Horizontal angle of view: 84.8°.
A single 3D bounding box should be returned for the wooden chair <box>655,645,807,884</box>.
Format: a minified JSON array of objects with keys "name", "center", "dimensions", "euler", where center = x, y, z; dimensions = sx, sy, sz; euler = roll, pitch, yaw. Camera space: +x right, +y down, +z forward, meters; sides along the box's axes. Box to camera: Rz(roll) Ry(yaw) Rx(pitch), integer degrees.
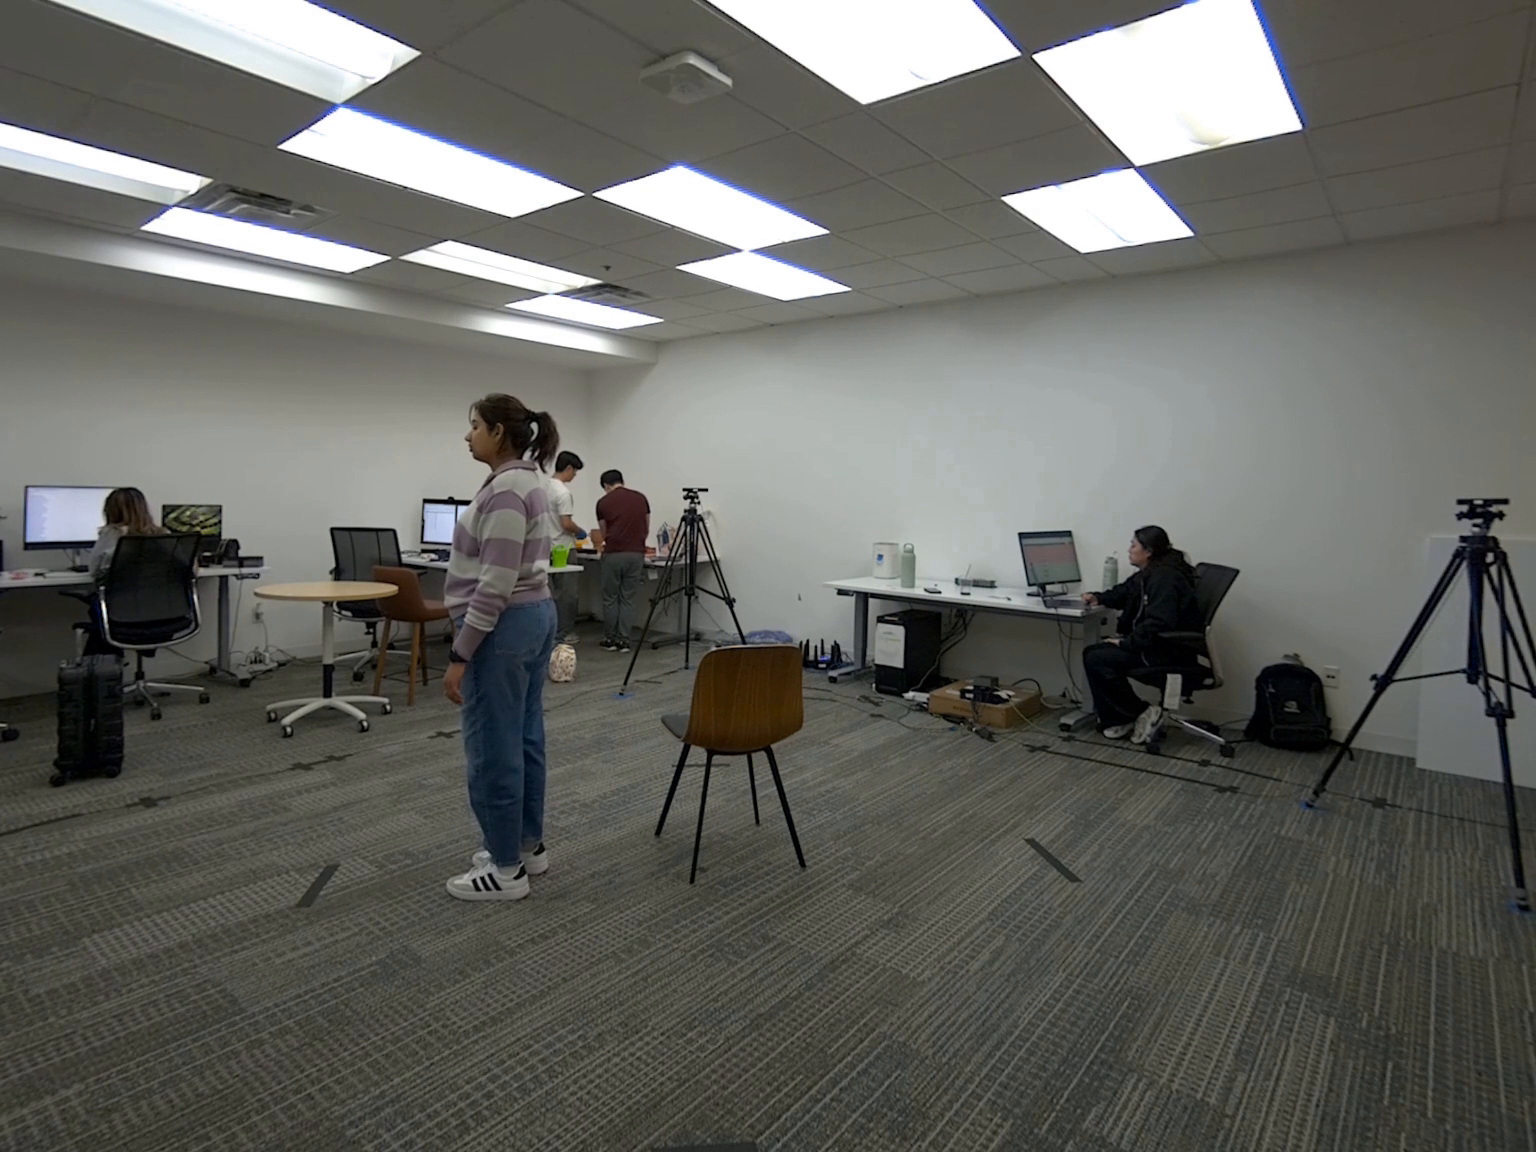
[{"name":"wooden chair","center":[-0.161,0.632,3.251],"dimensions":[0.468,0.872,0.538],"euler":[-1,8,-22]}]
